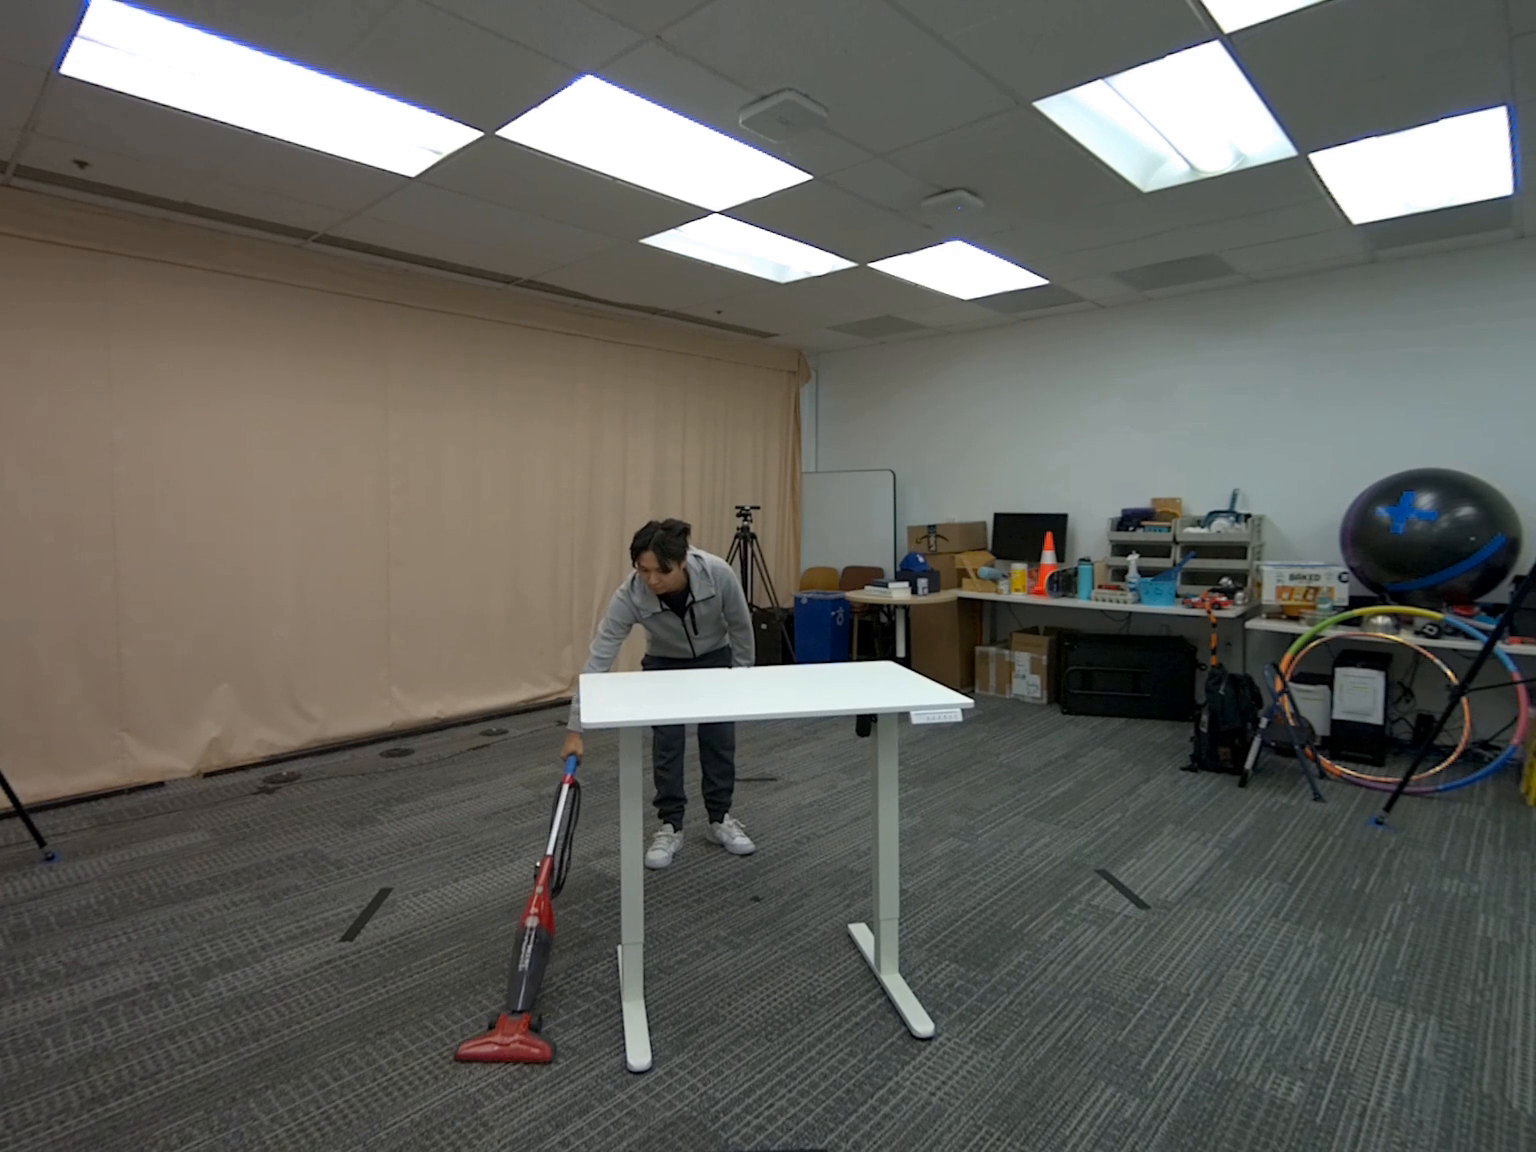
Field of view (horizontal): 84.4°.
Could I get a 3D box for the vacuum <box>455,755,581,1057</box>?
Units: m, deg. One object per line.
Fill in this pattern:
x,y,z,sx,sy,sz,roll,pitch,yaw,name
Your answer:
-0.664,0.897,2.648,0.254,0.141,1.066,-6,33,3,vacuum
